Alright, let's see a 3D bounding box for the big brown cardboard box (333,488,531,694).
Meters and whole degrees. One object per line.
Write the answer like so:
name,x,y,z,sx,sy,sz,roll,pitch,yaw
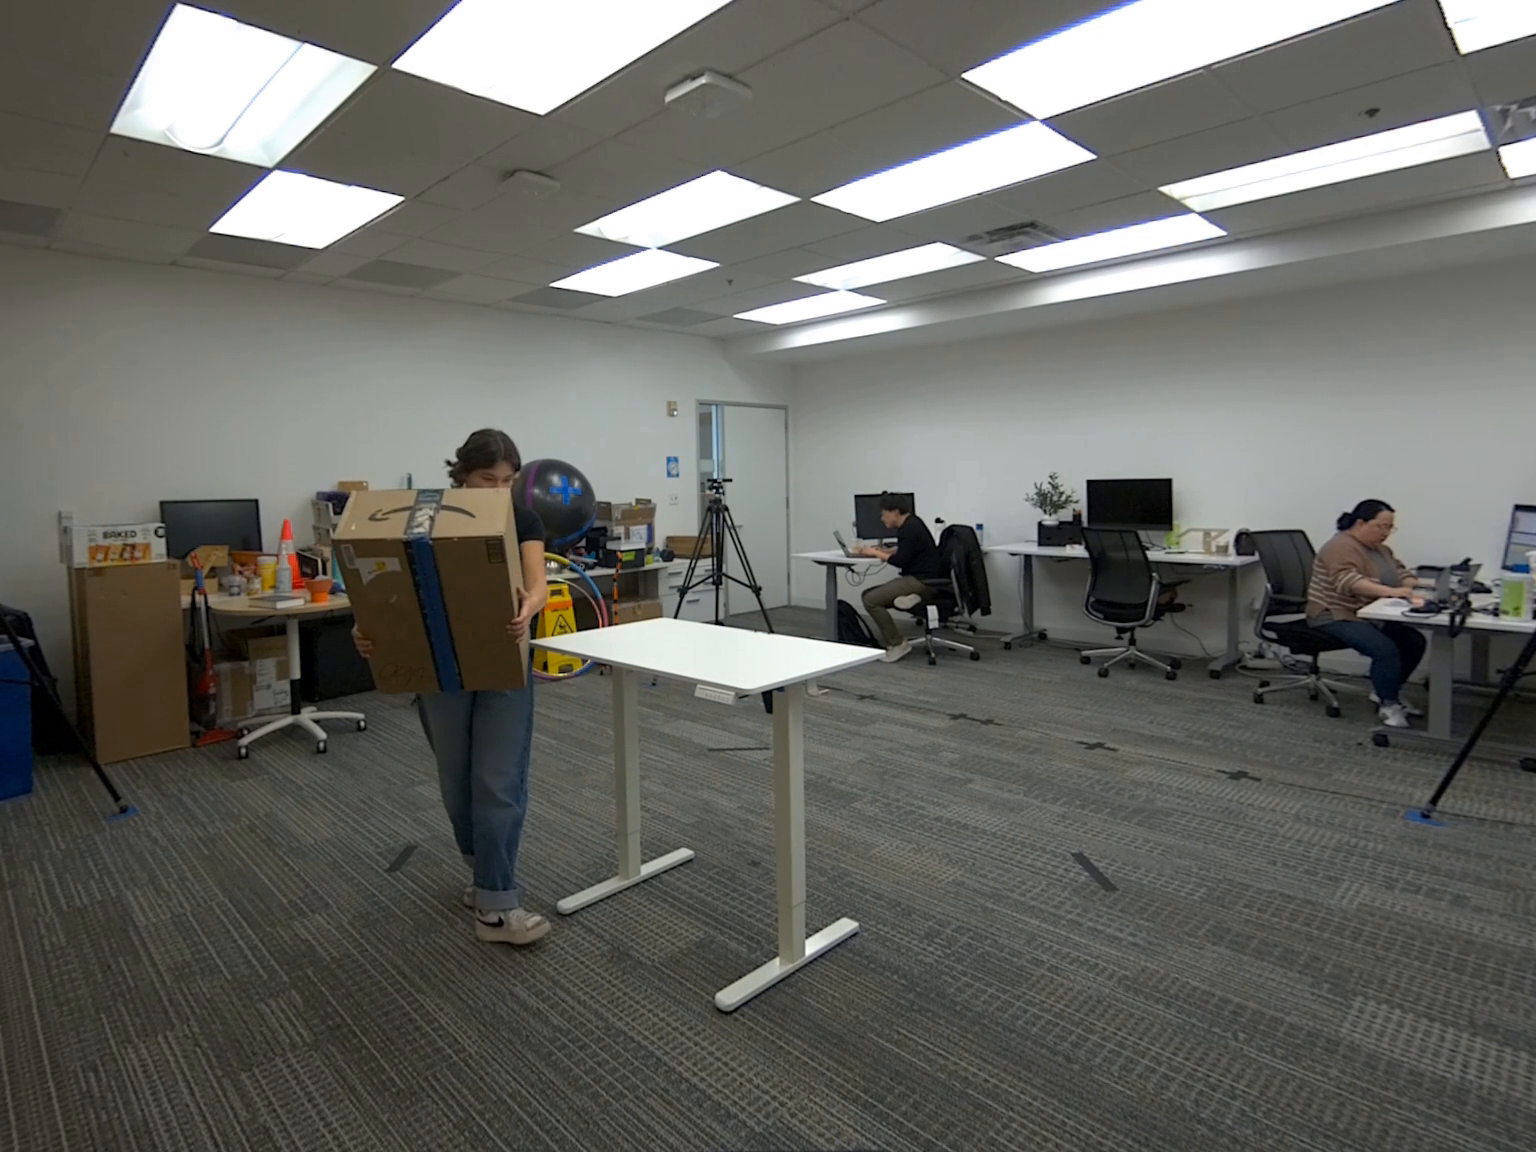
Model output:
big brown cardboard box,-0.908,0.048,2.351,0.414,0.575,0.241,-2,40,-8
